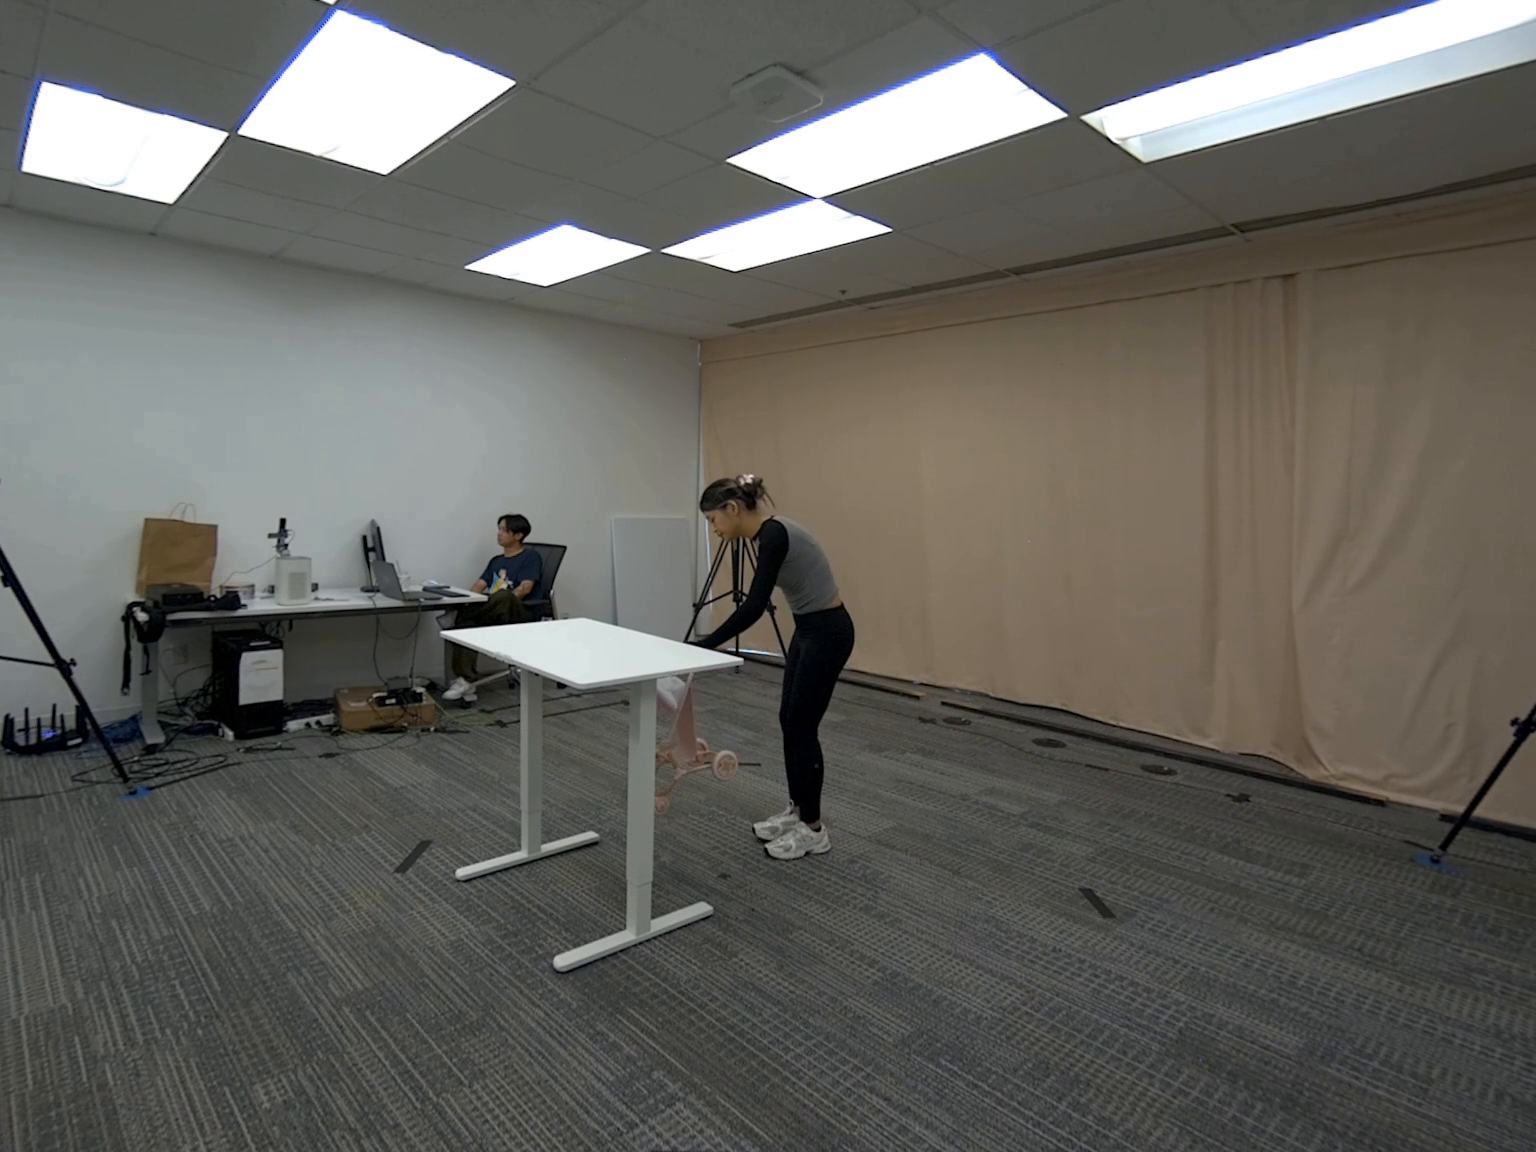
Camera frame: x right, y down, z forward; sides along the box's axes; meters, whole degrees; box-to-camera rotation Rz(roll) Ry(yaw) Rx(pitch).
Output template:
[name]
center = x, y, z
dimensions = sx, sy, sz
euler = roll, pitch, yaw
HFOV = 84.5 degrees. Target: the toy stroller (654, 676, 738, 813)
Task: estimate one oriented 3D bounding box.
[toy stroller]
center = -0.360, 0.583, 3.127
dimensions = 0.337, 0.531, 0.287
euler = -18, 10, -23
